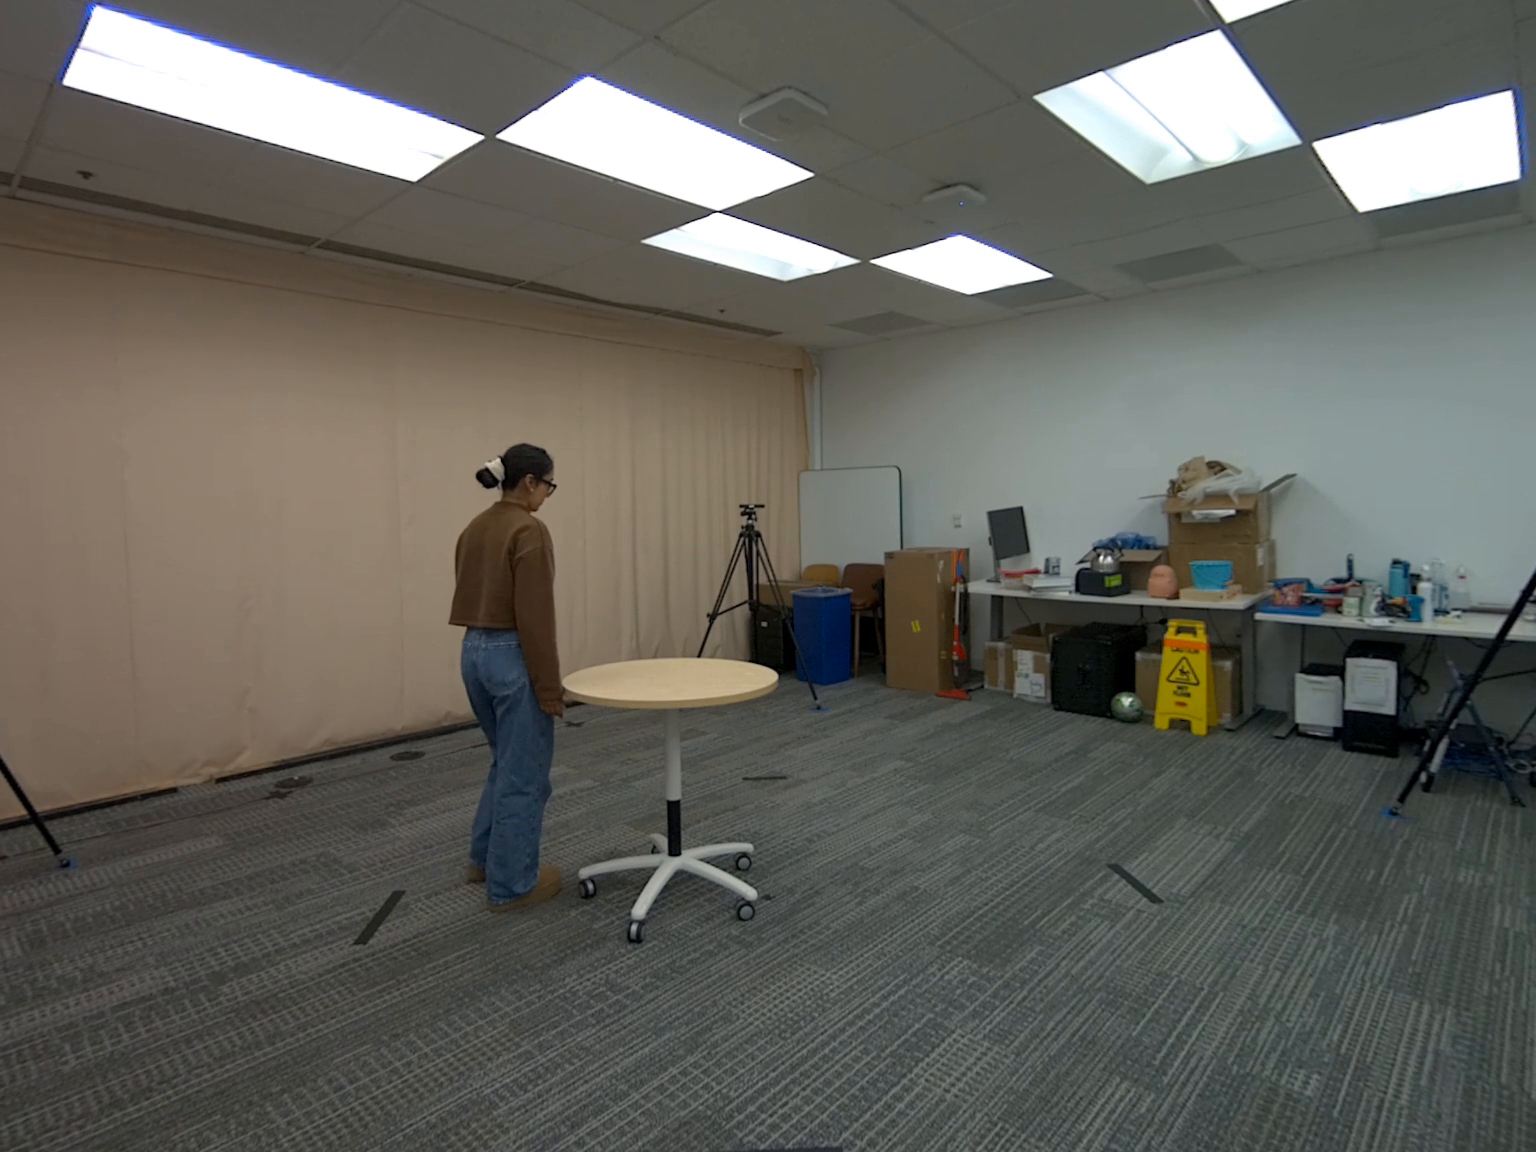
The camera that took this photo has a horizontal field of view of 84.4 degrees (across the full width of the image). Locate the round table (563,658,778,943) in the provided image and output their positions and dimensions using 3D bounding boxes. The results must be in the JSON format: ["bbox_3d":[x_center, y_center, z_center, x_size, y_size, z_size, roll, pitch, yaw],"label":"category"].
[{"bbox_3d":[-0.331,0.754,3.016,0.763,0.792,0.766,-1,4,-2],"label":"round table"}]
